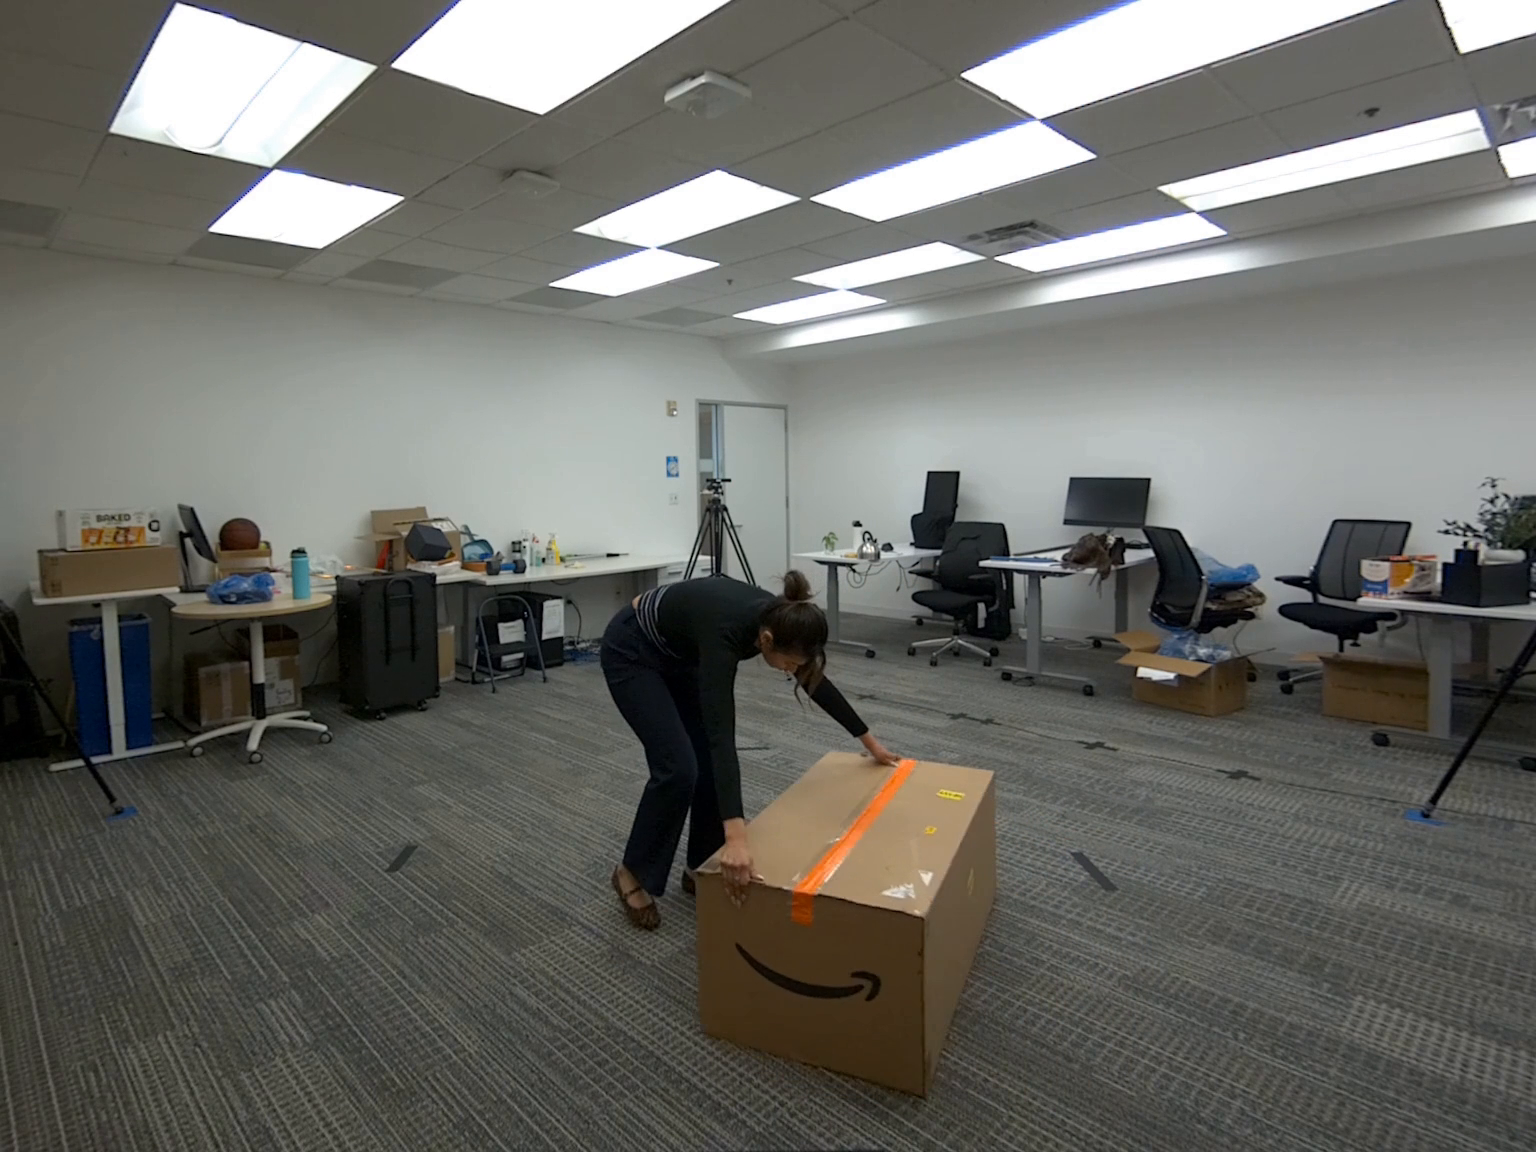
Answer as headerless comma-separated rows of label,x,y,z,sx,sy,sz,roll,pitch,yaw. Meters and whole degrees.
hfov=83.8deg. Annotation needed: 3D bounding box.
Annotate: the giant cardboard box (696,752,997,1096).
giant cardboard box,0.286,0.894,2.482,0.590,0.424,1.007,1,6,24
